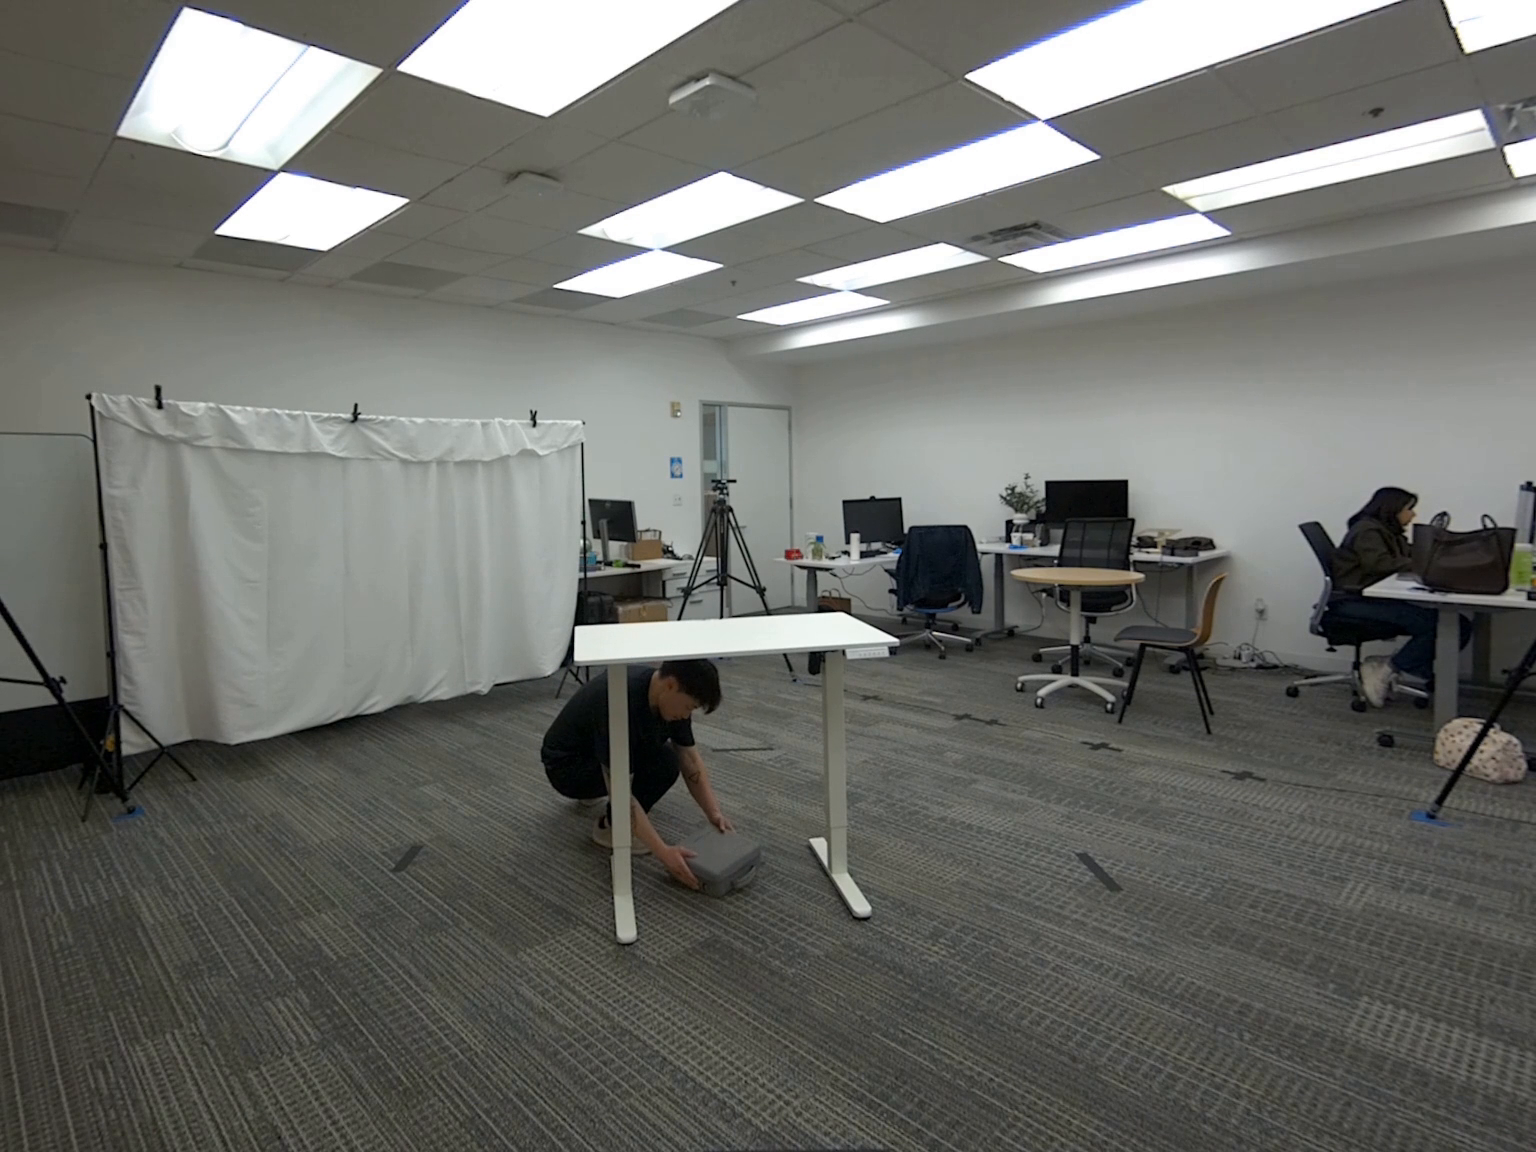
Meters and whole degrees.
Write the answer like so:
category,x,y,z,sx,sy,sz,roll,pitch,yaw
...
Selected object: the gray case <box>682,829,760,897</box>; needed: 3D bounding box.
category,x,y,z,sx,sy,sz,roll,pitch,yaw
gray case,-0.186,0.991,2.990,0.268,0.103,0.251,5,12,38
